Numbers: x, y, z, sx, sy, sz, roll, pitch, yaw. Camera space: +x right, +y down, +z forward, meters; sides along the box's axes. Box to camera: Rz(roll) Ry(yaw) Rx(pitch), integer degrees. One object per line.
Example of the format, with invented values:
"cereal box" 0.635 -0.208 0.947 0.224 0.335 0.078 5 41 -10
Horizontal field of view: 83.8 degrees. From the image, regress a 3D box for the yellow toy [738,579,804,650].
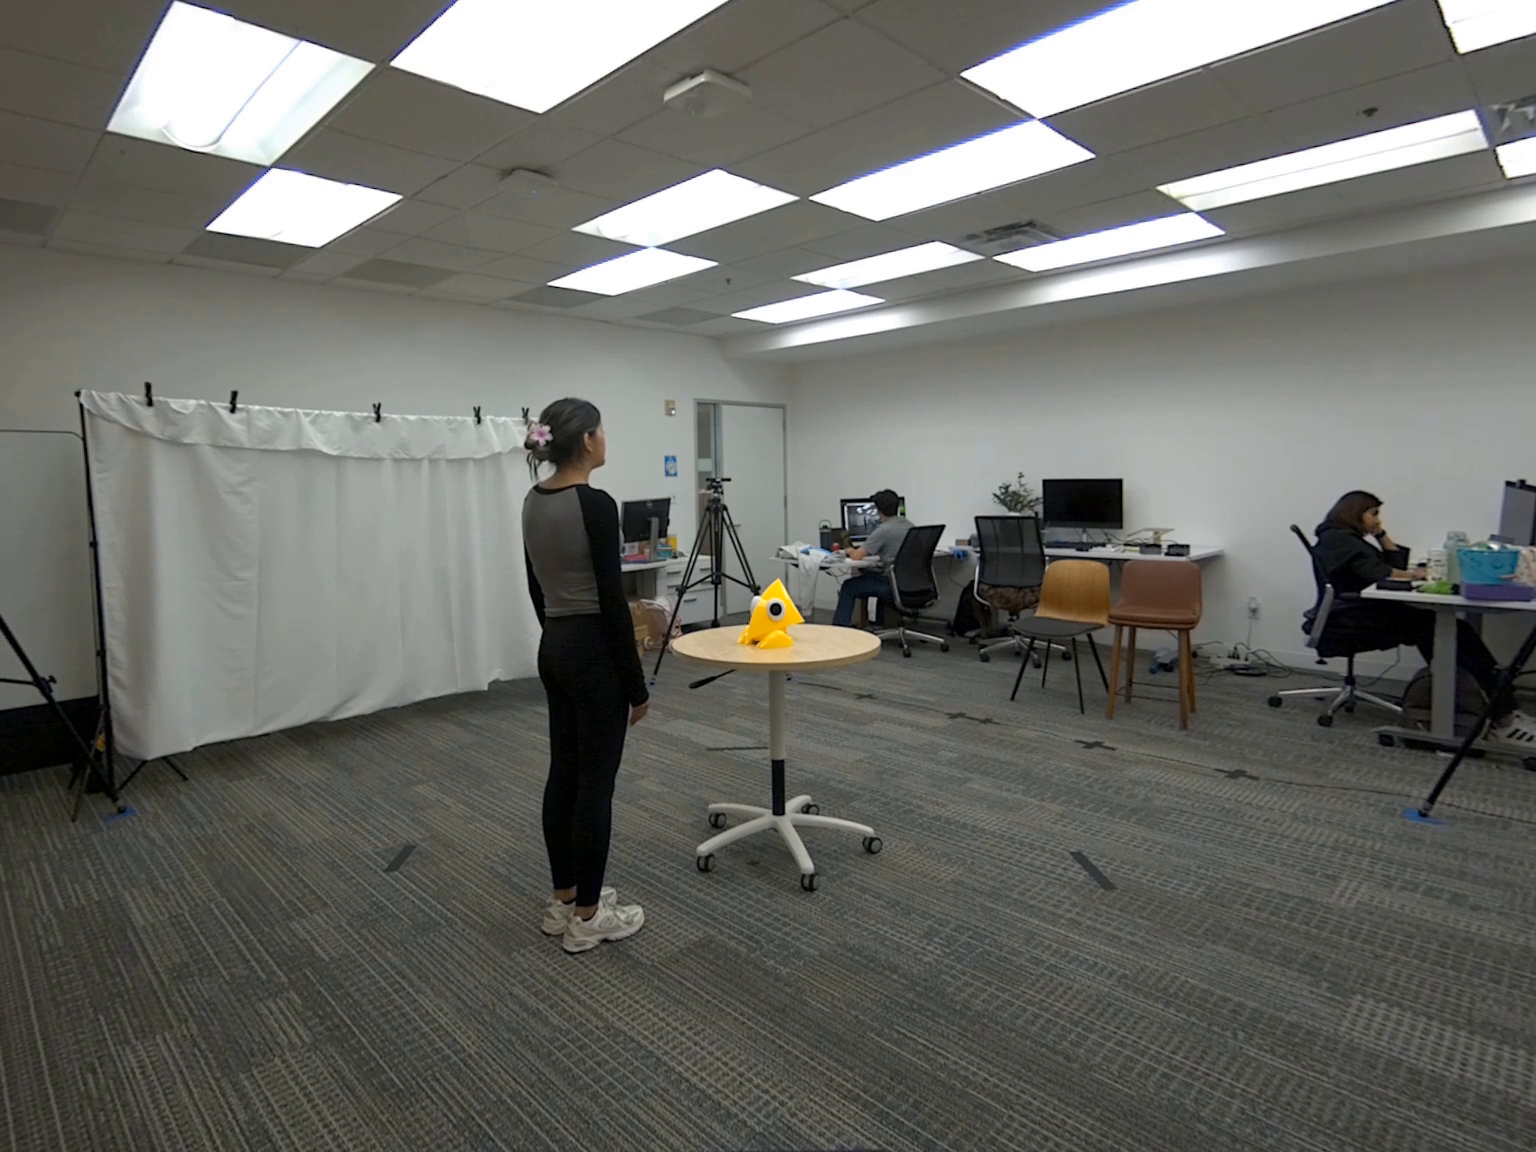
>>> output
"yellow toy" -0.005 0.132 3.123 0.188 0.230 0.211 -6 6 -39
